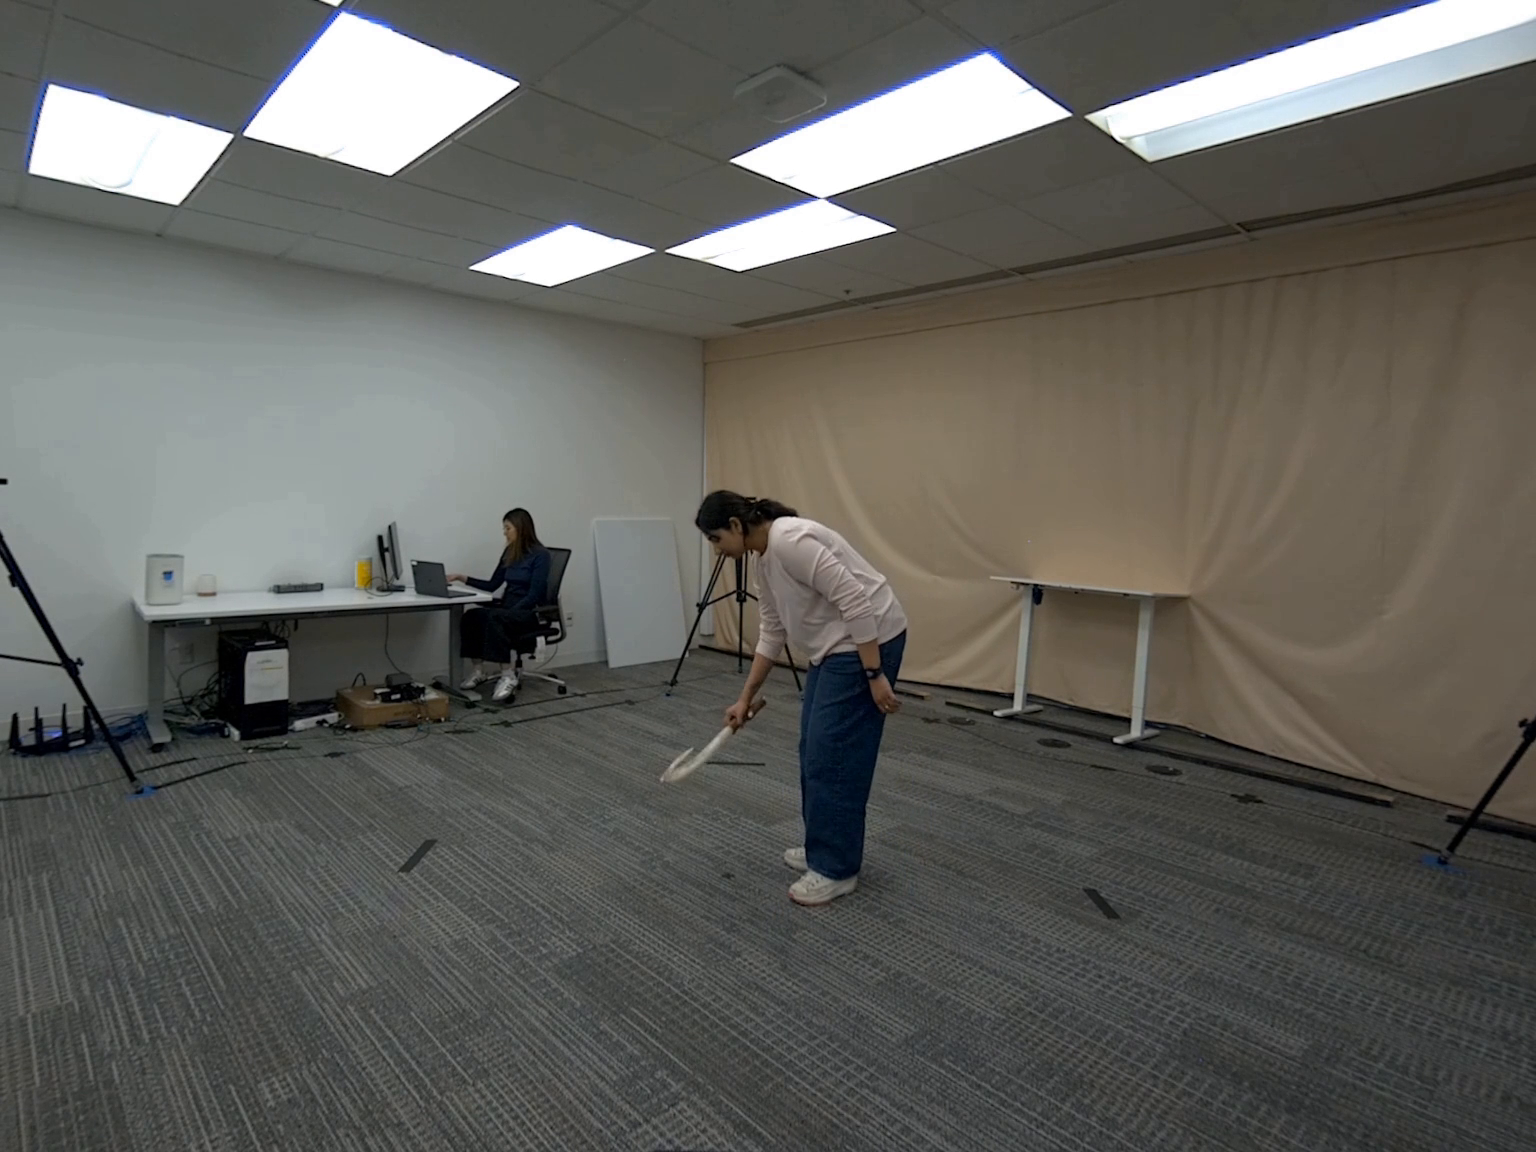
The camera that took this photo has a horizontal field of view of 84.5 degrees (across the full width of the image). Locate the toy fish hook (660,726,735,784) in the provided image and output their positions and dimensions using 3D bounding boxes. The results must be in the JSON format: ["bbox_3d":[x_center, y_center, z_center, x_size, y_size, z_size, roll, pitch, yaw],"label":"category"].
[{"bbox_3d":[-0.212,0.611,3.188,0.503,0.048,0.228,-35,12,-32],"label":"toy fish hook"}]
